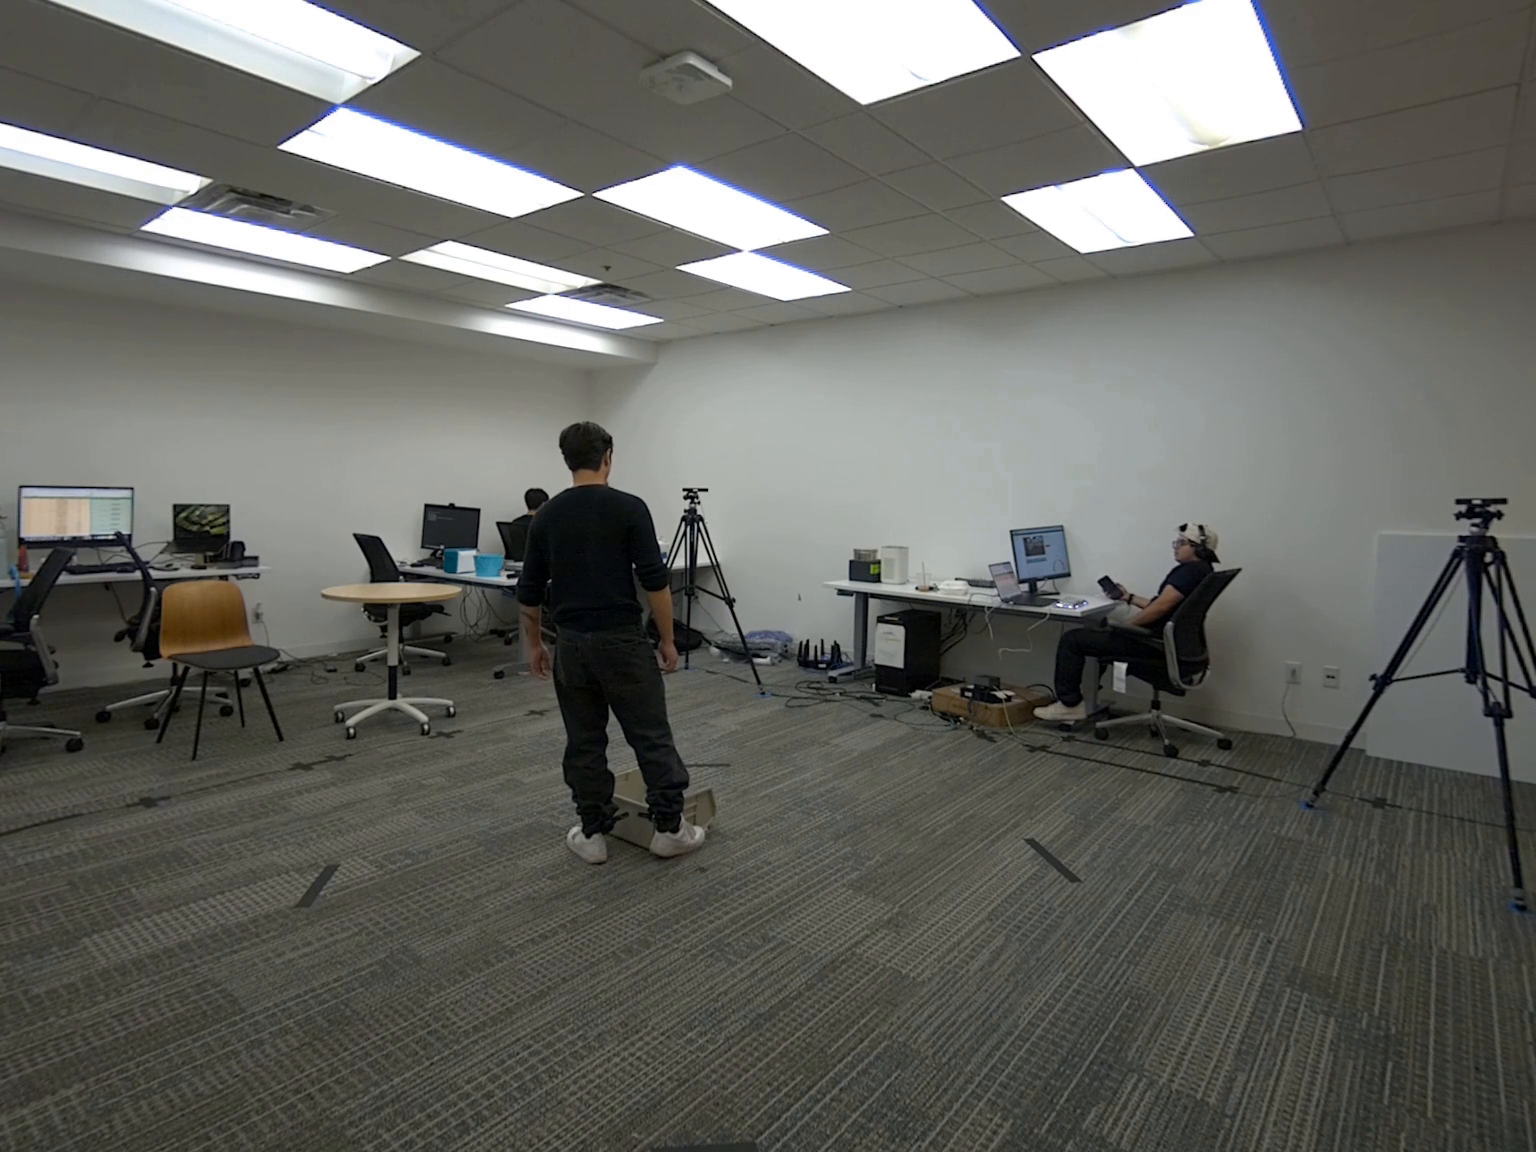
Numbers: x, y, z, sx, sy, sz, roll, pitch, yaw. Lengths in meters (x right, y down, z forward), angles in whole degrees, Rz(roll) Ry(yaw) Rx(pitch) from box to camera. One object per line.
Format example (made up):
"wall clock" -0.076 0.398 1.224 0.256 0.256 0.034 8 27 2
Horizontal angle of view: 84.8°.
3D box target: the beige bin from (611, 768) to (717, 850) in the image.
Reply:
"beige bin" -0.504 0.941 3.494 0.436 0.188 0.367 6 8 38
